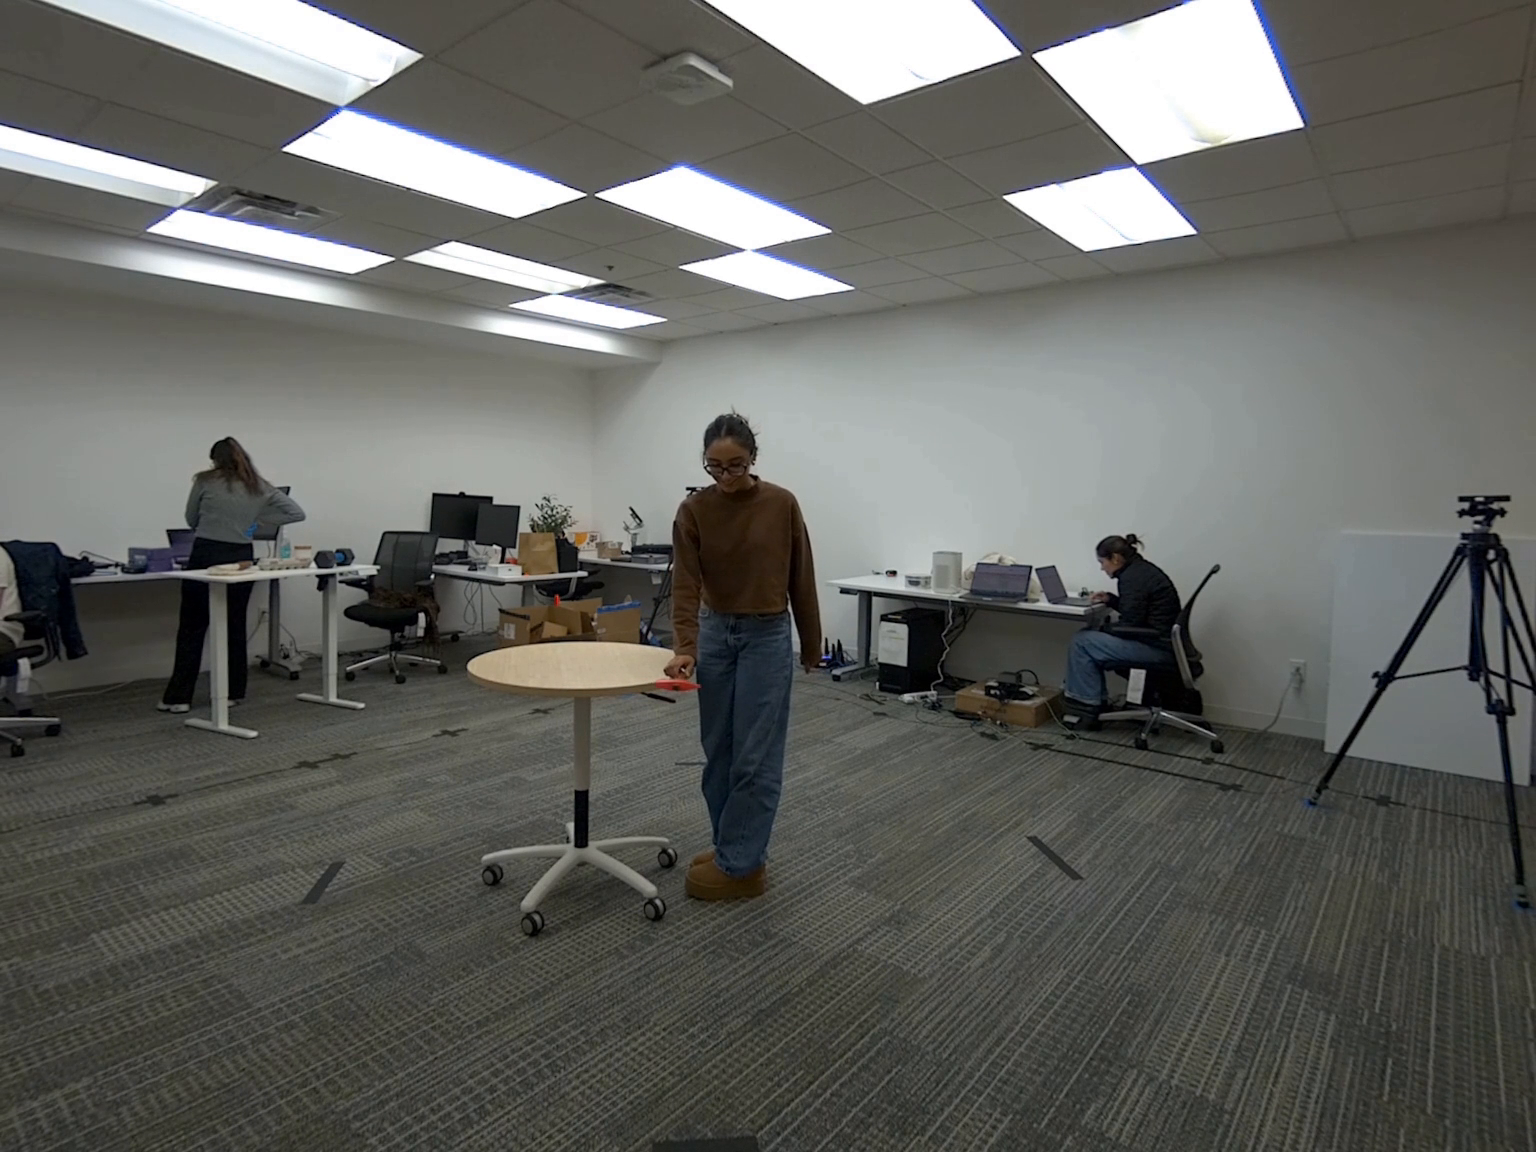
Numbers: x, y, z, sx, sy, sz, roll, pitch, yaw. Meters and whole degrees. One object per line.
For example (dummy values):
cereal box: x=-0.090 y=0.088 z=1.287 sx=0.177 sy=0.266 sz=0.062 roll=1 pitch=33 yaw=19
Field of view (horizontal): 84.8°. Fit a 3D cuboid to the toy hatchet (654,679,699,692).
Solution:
toy hatchet: x=-0.259 y=0.298 z=2.567 sx=0.133 sy=0.029 sz=0.267 roll=7 pitch=5 yaw=11
